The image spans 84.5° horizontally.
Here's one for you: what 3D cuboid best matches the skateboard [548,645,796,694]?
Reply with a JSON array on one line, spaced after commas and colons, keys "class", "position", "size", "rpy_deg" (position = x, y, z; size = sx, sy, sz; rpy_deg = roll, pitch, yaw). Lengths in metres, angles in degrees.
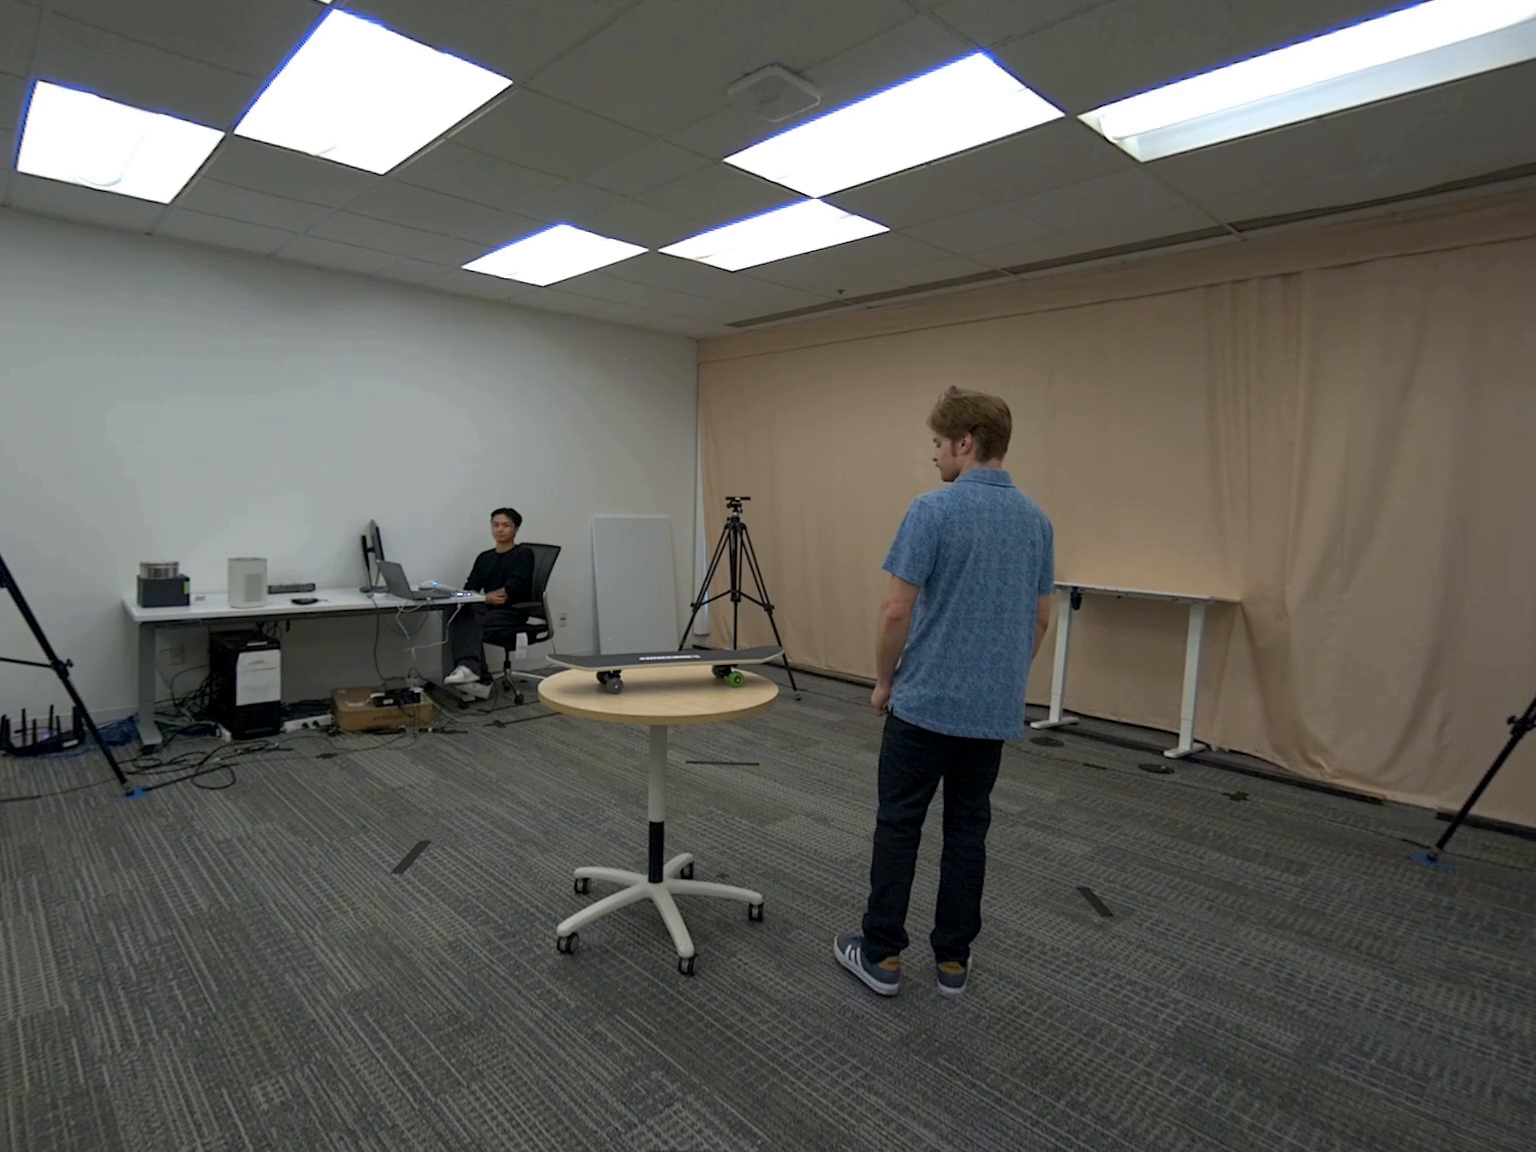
[{"class": "skateboard", "position": [-0.320, 0.305, 2.709], "size": [0.773, 0.110, 0.197], "rpy_deg": [0, 6, -20]}]
